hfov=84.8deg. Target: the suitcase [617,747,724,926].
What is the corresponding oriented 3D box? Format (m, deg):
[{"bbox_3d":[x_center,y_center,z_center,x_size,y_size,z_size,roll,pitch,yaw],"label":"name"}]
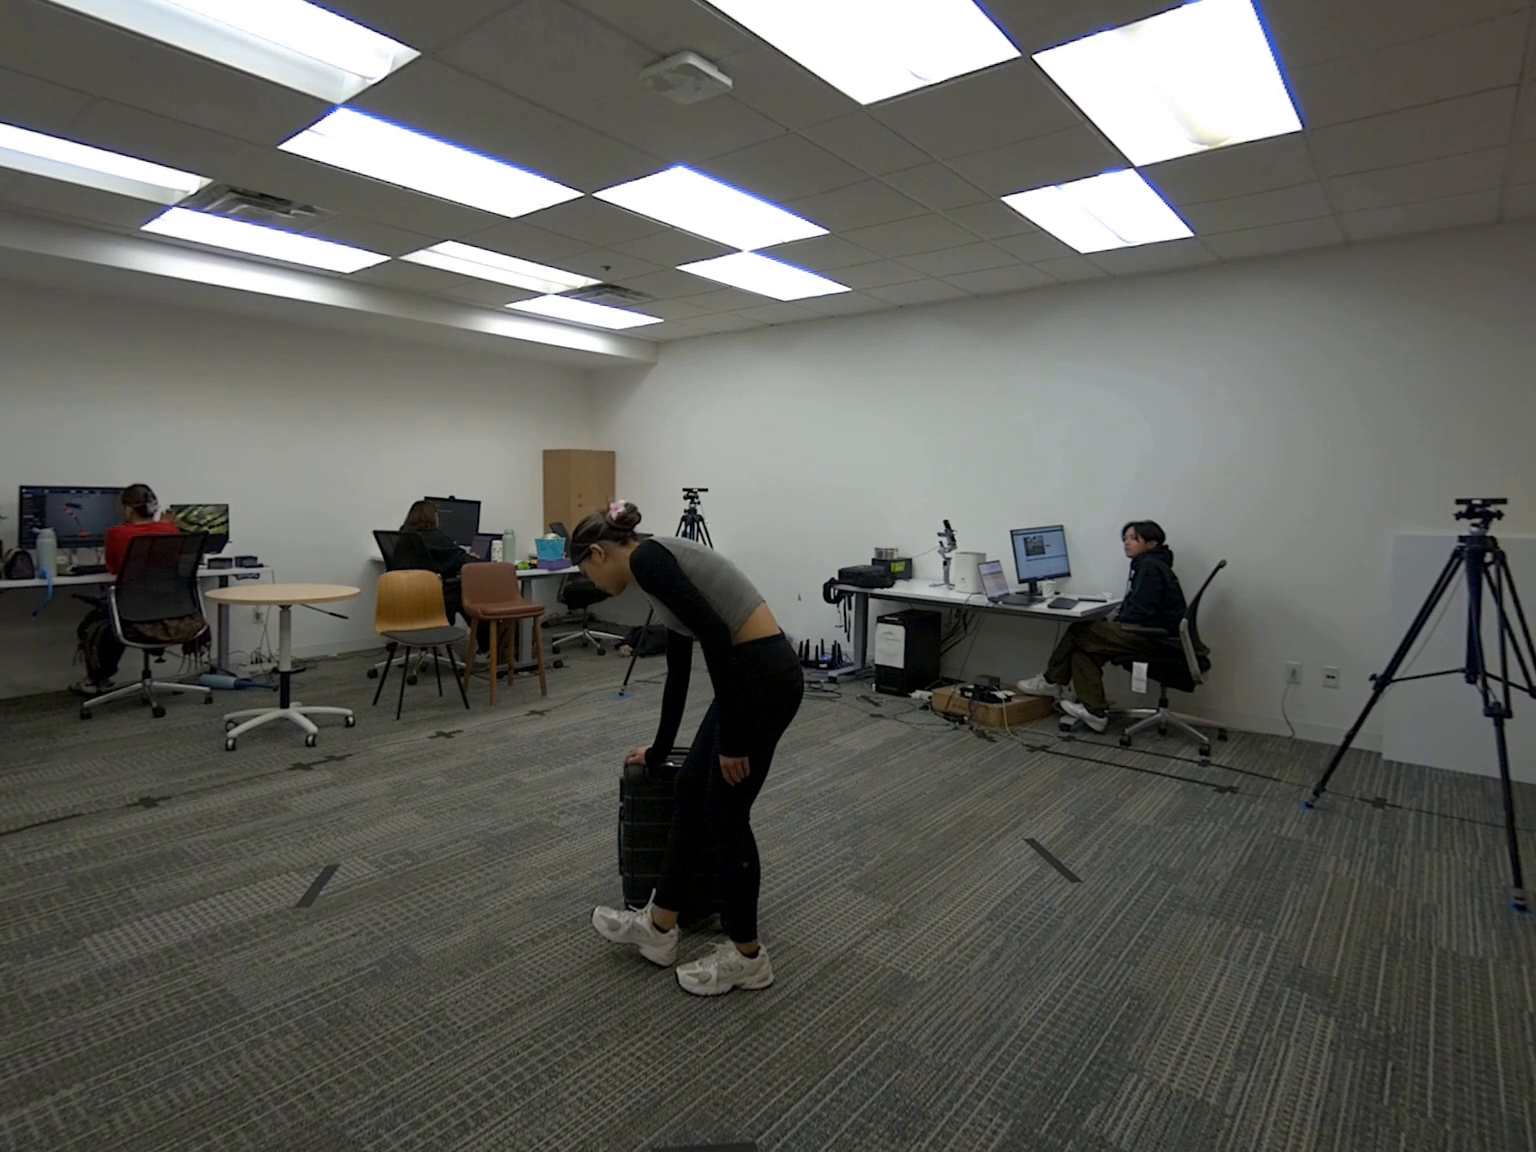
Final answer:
[{"bbox_3d":[-0.300,0.821,2.756,0.376,0.549,0.248,0,1,1],"label":"suitcase"}]
